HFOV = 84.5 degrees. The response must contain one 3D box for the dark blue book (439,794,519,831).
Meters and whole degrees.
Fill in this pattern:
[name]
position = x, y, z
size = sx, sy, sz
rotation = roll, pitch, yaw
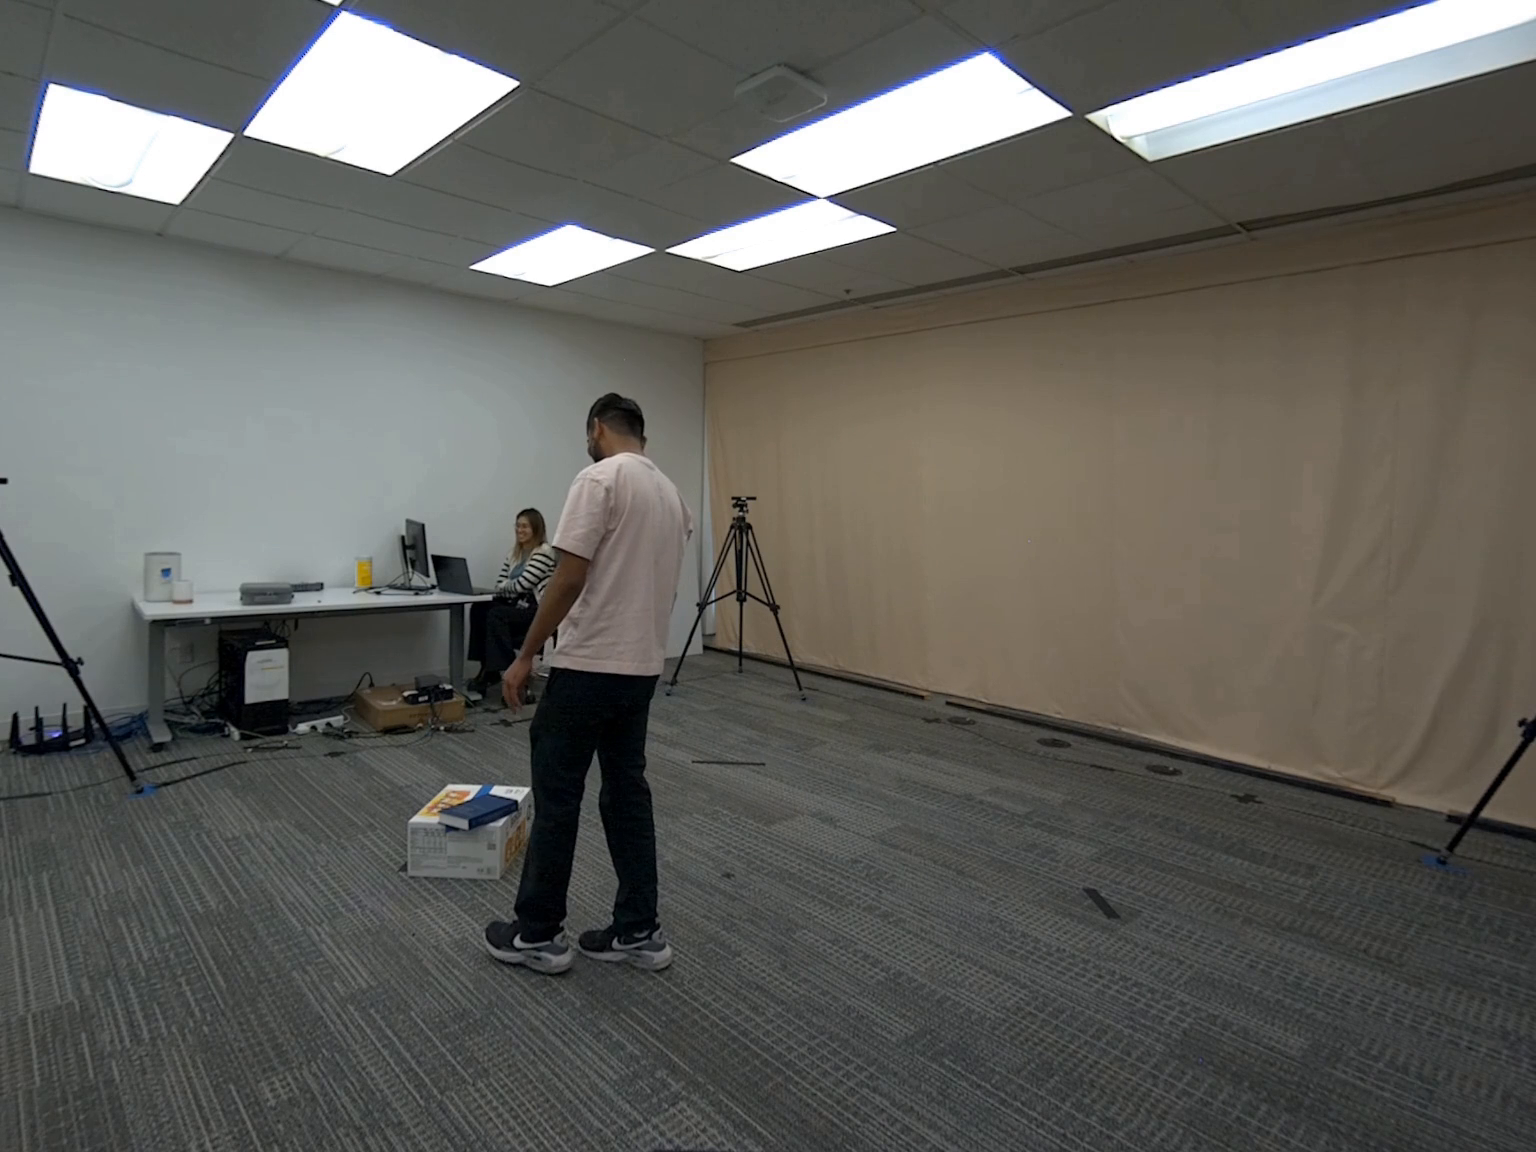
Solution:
[dark blue book]
position = -1.068, 0.864, 3.083
size = 0.167, 0.045, 0.240
rotation = 1, 3, 28
